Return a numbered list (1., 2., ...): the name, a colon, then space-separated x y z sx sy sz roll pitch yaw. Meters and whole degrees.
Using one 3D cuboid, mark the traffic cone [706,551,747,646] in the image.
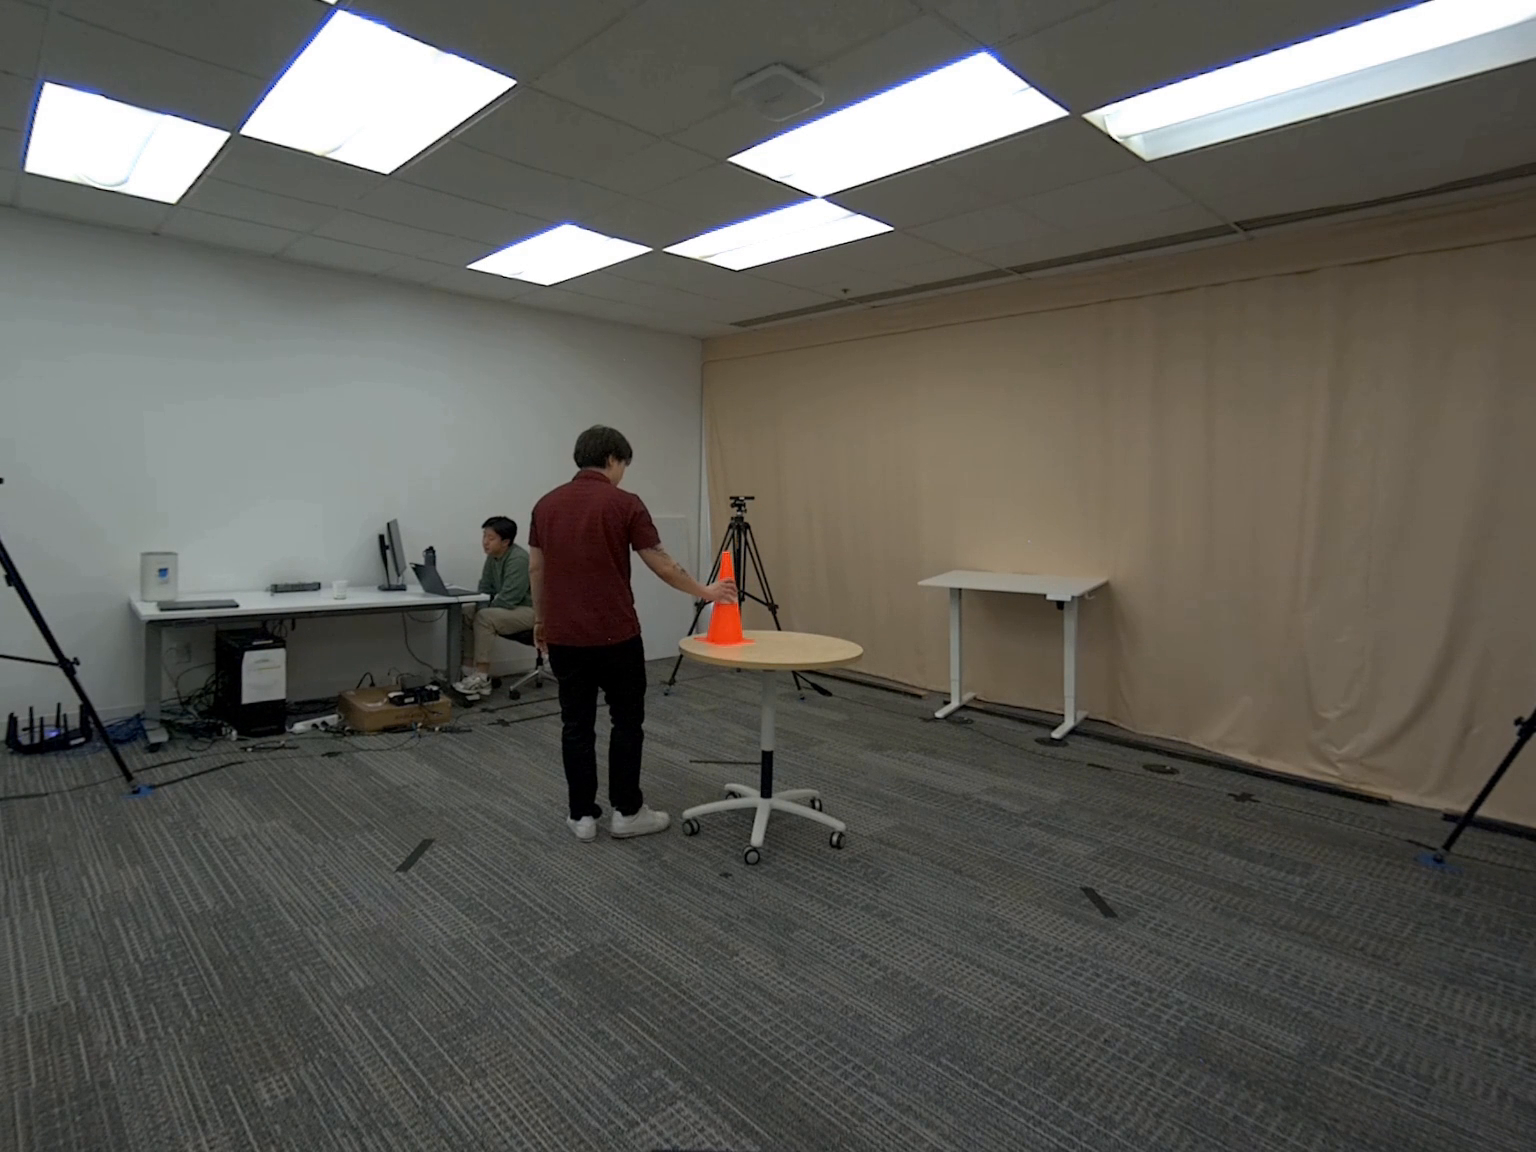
1. traffic cone: -0.188 0.086 3.589 0.209 0.382 0.200 9 8 43
